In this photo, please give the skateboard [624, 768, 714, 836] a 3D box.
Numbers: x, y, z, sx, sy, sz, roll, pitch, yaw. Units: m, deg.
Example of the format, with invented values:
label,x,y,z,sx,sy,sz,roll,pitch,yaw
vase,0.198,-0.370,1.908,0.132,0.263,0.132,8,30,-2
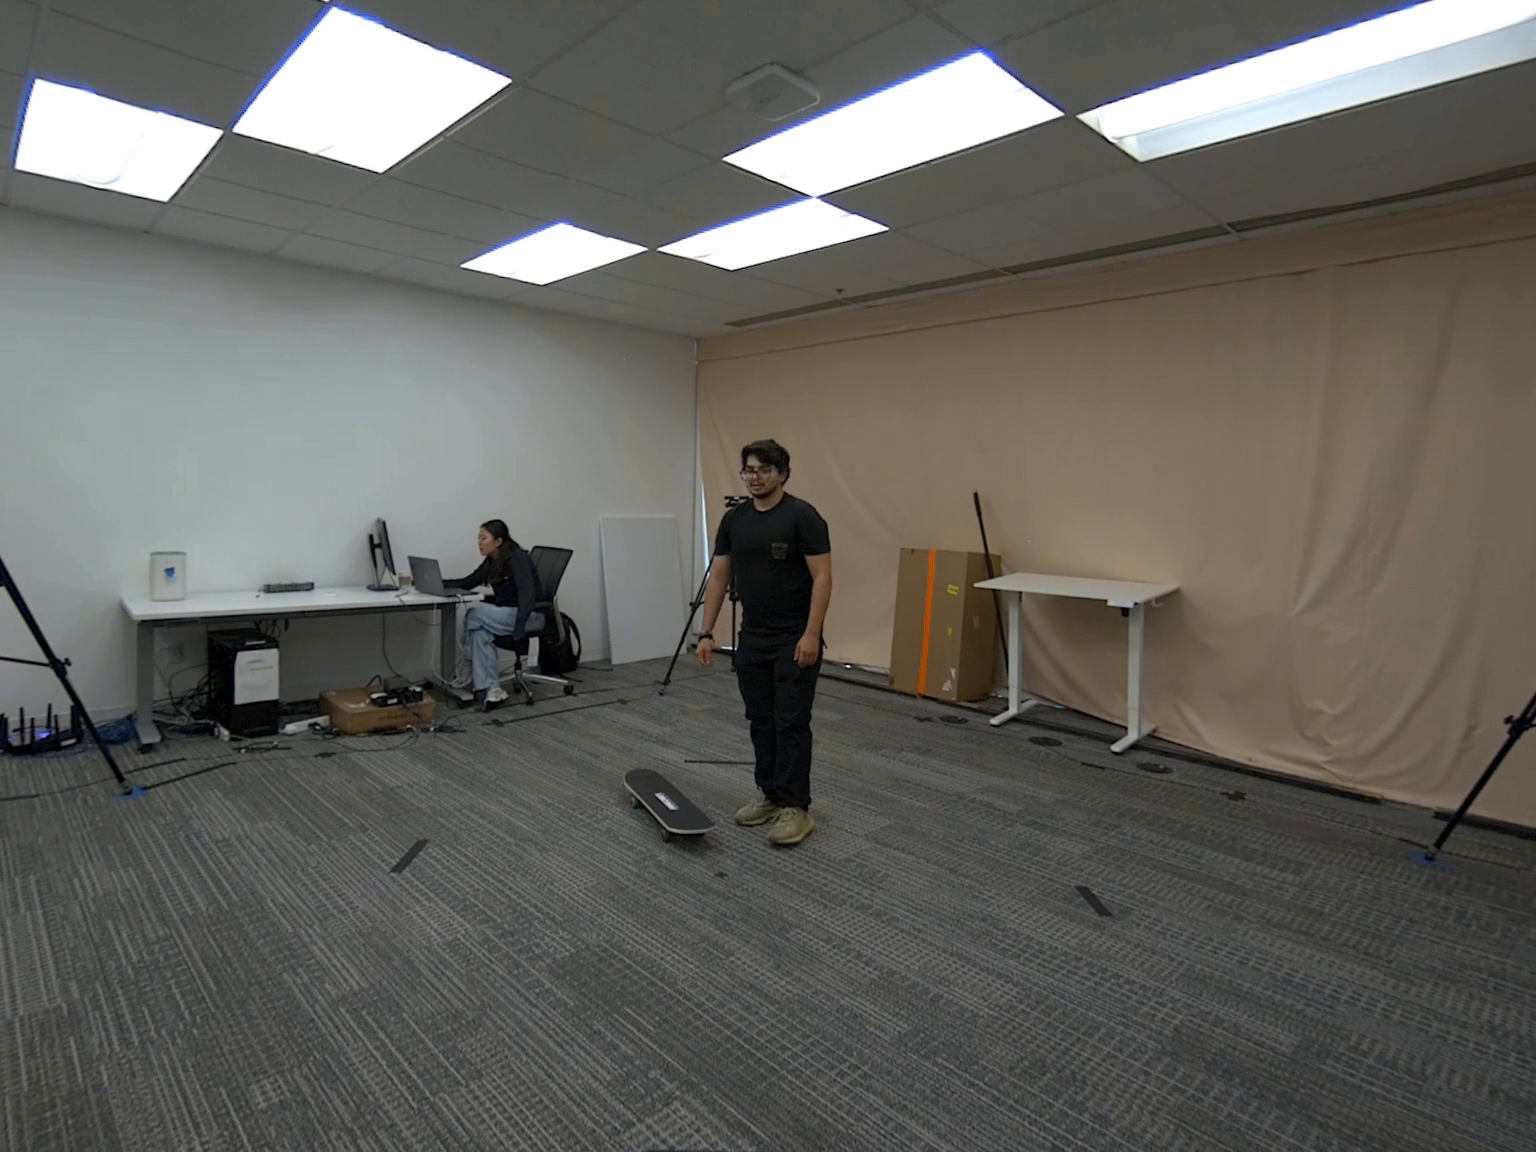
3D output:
label,x,y,z,sx,sy,sz,roll,pitch,yaw
skateboard,-0.442,0.992,3.606,0.190,0.110,0.802,-2,6,-26
